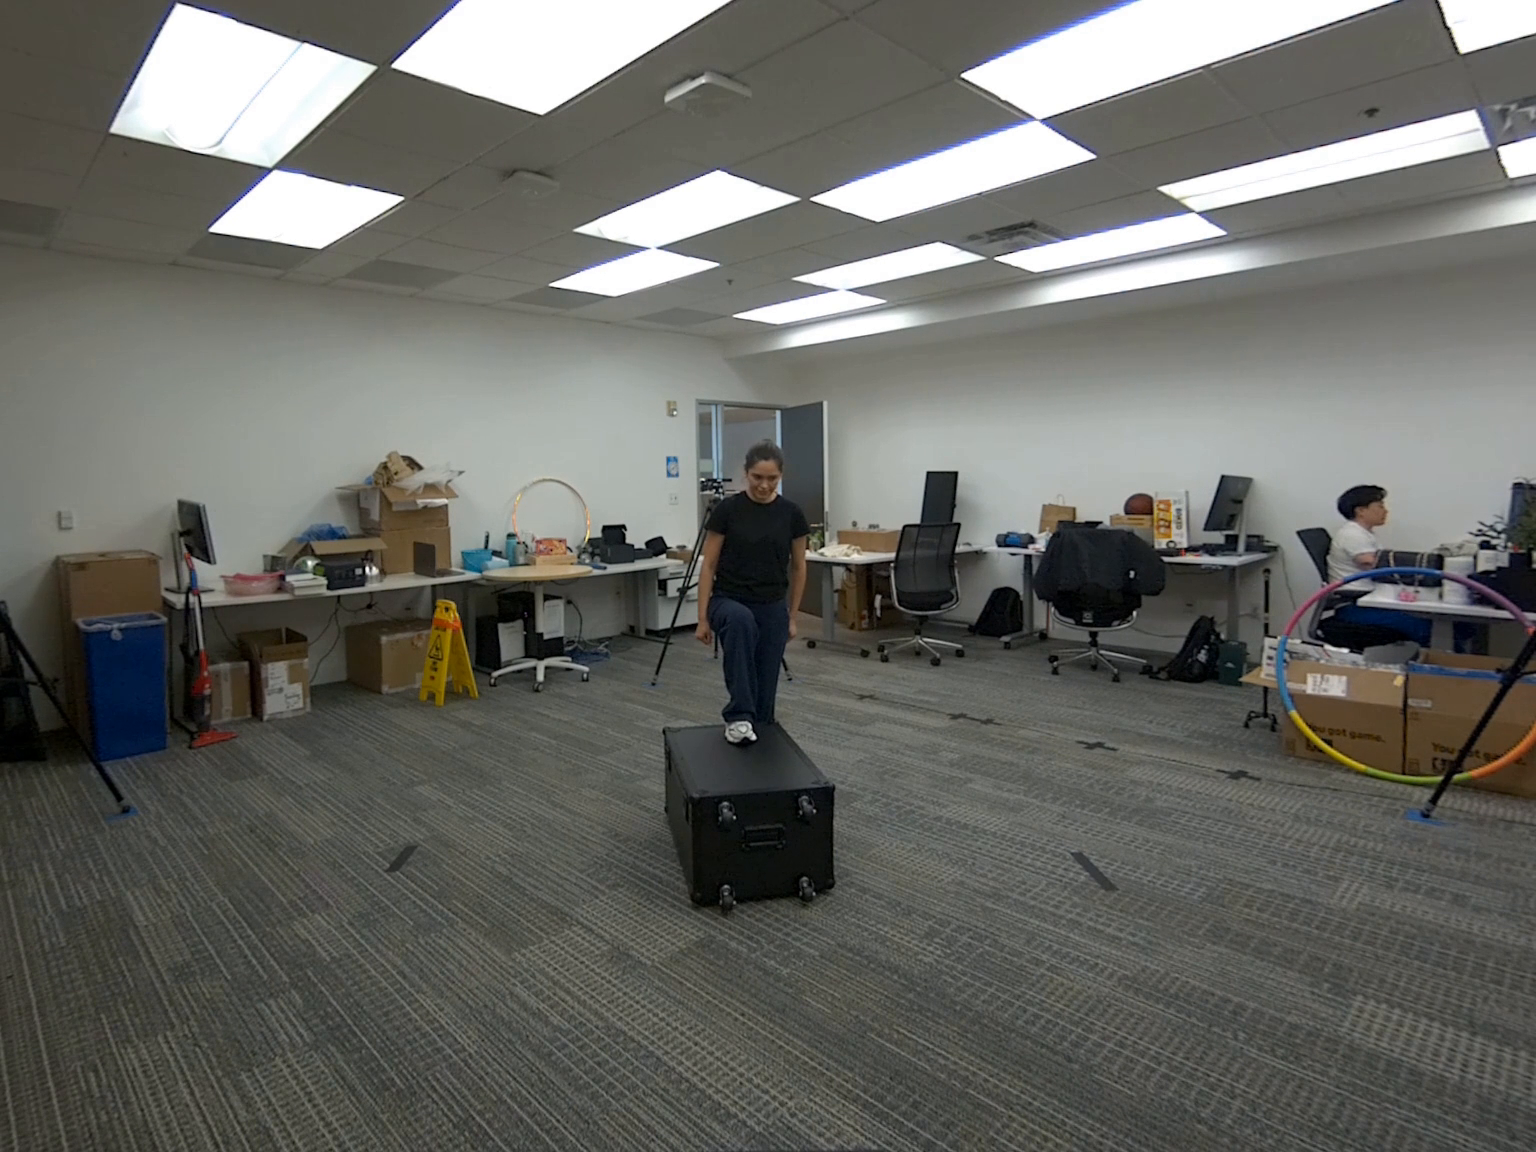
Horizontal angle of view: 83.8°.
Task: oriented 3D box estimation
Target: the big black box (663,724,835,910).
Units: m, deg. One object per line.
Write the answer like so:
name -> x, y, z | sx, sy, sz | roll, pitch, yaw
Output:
big black box -> -0.099, 0.844, 3.165 | 0.515, 0.394, 0.875 | -2, 6, -13
